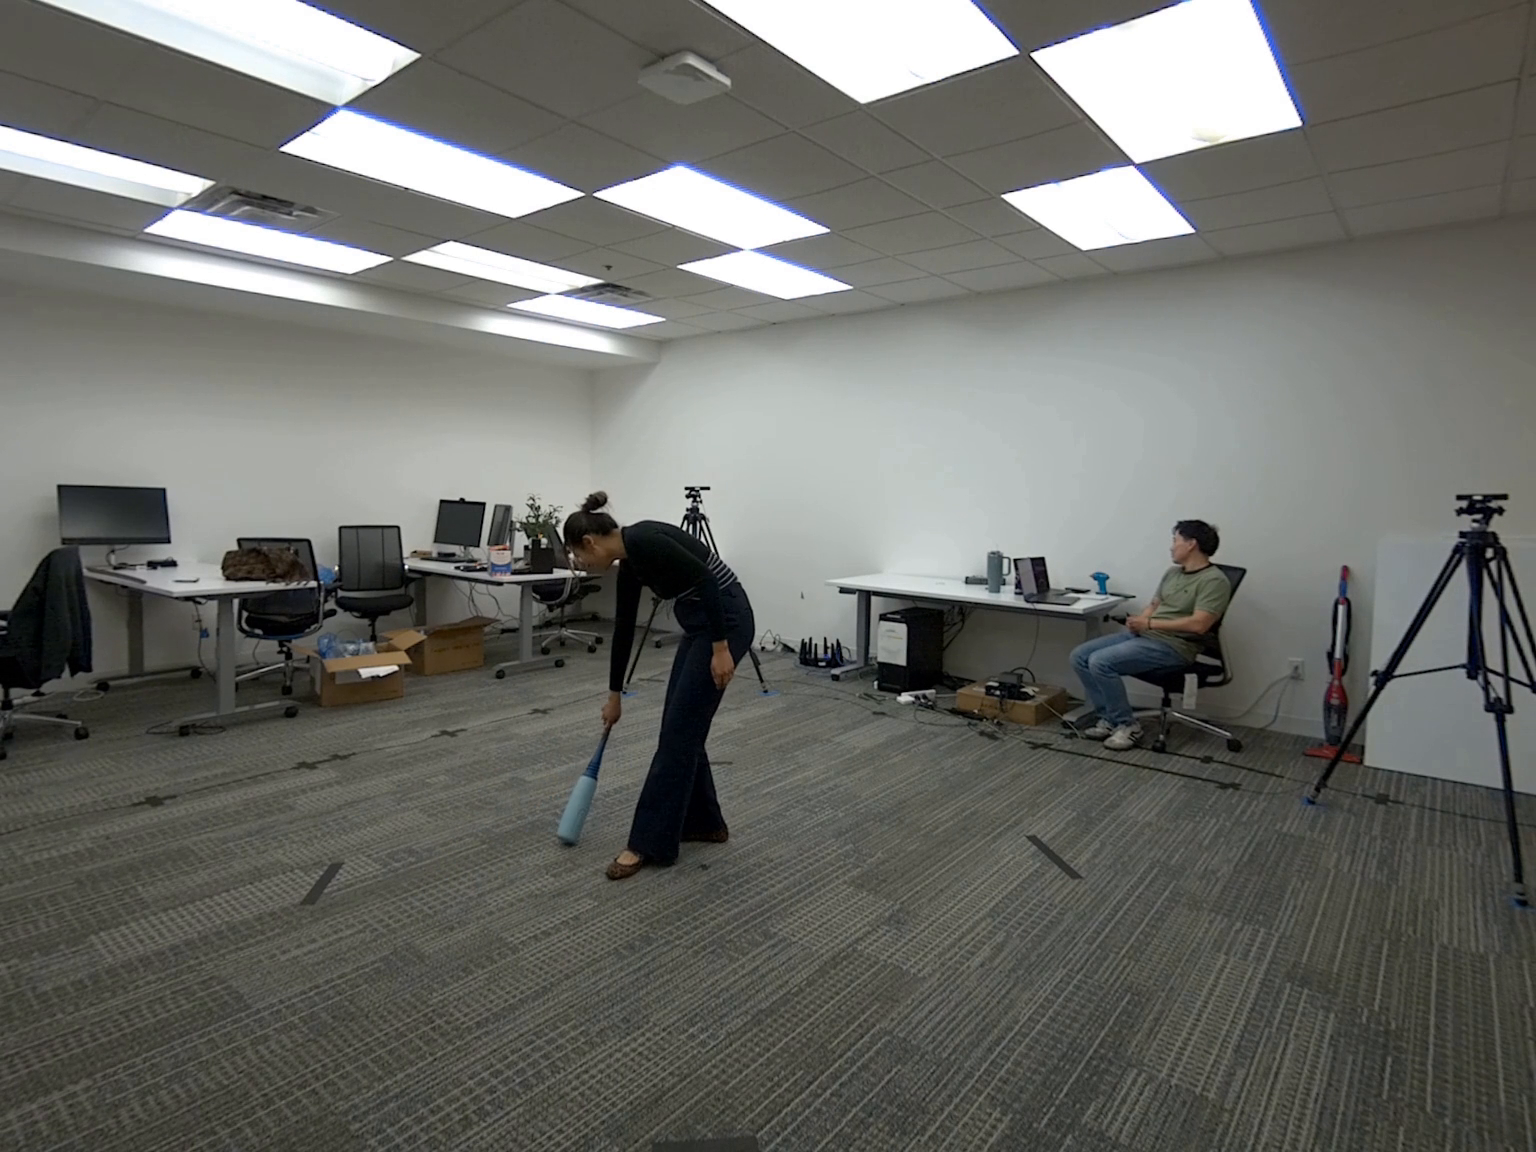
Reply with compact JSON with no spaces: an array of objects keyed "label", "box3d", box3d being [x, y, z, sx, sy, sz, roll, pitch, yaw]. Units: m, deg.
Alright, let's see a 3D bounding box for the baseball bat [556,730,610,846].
[{"label":"baseball bat","box3d":[-0.719,0.799,3.419,0.090,0.551,0.087,14,-31,7]}]
